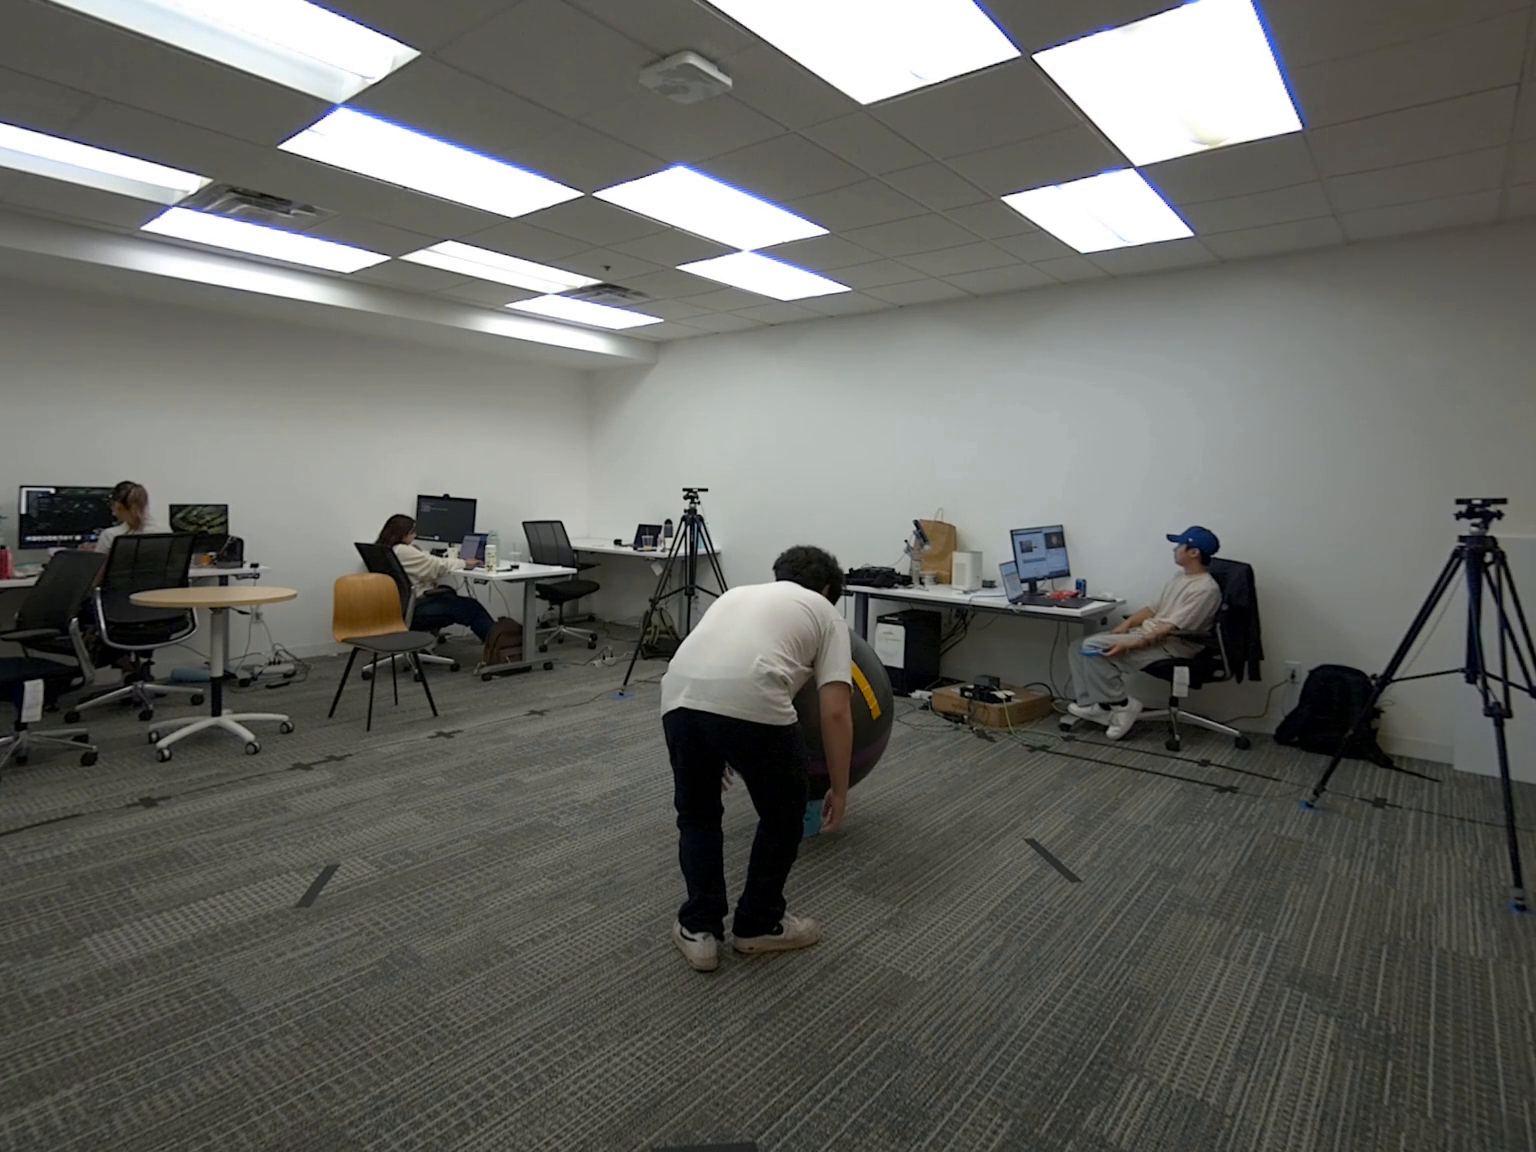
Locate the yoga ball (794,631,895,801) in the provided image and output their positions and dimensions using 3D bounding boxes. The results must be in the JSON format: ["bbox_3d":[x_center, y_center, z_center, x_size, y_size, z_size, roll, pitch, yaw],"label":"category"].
[{"bbox_3d":[0.132,0.523,3.486,0.757,0.756,0.761,1,4,-2],"label":"yoga ball"}]
